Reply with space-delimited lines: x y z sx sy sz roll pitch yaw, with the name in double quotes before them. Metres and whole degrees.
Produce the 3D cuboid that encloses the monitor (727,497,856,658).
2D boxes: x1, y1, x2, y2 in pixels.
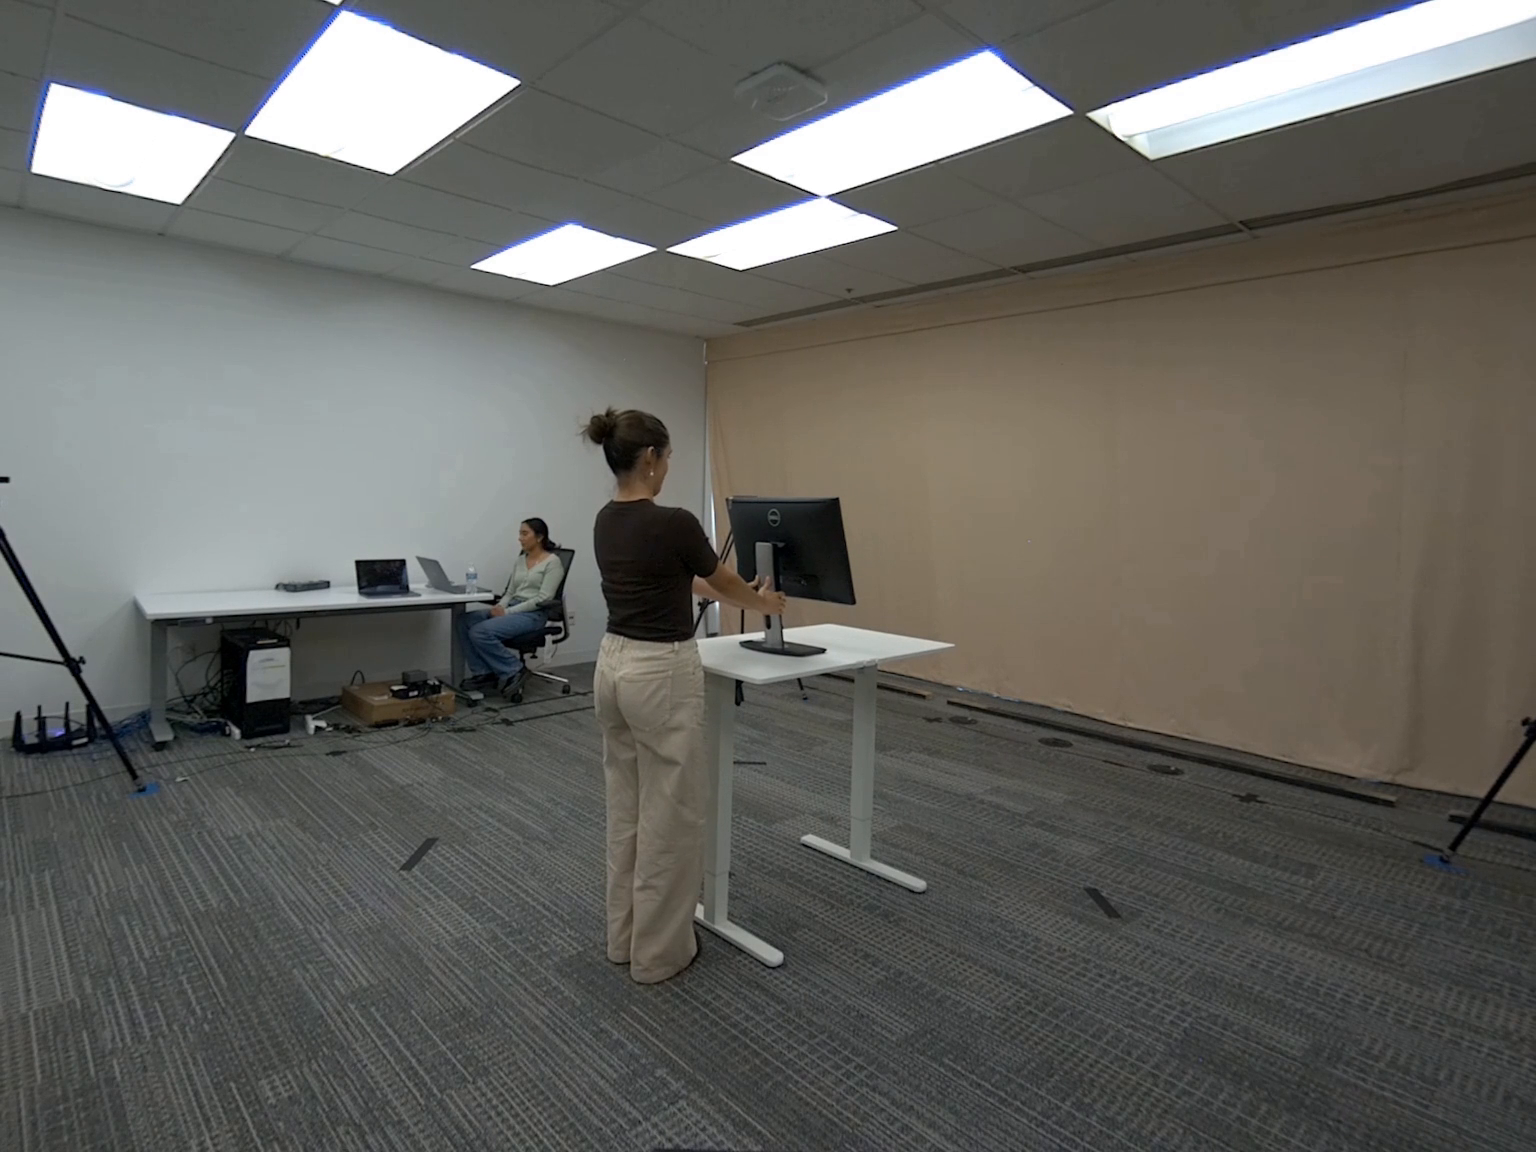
"monitor" 0.040 -0.003 2.819 0.183 0.521 0.553 -3 6 -43
